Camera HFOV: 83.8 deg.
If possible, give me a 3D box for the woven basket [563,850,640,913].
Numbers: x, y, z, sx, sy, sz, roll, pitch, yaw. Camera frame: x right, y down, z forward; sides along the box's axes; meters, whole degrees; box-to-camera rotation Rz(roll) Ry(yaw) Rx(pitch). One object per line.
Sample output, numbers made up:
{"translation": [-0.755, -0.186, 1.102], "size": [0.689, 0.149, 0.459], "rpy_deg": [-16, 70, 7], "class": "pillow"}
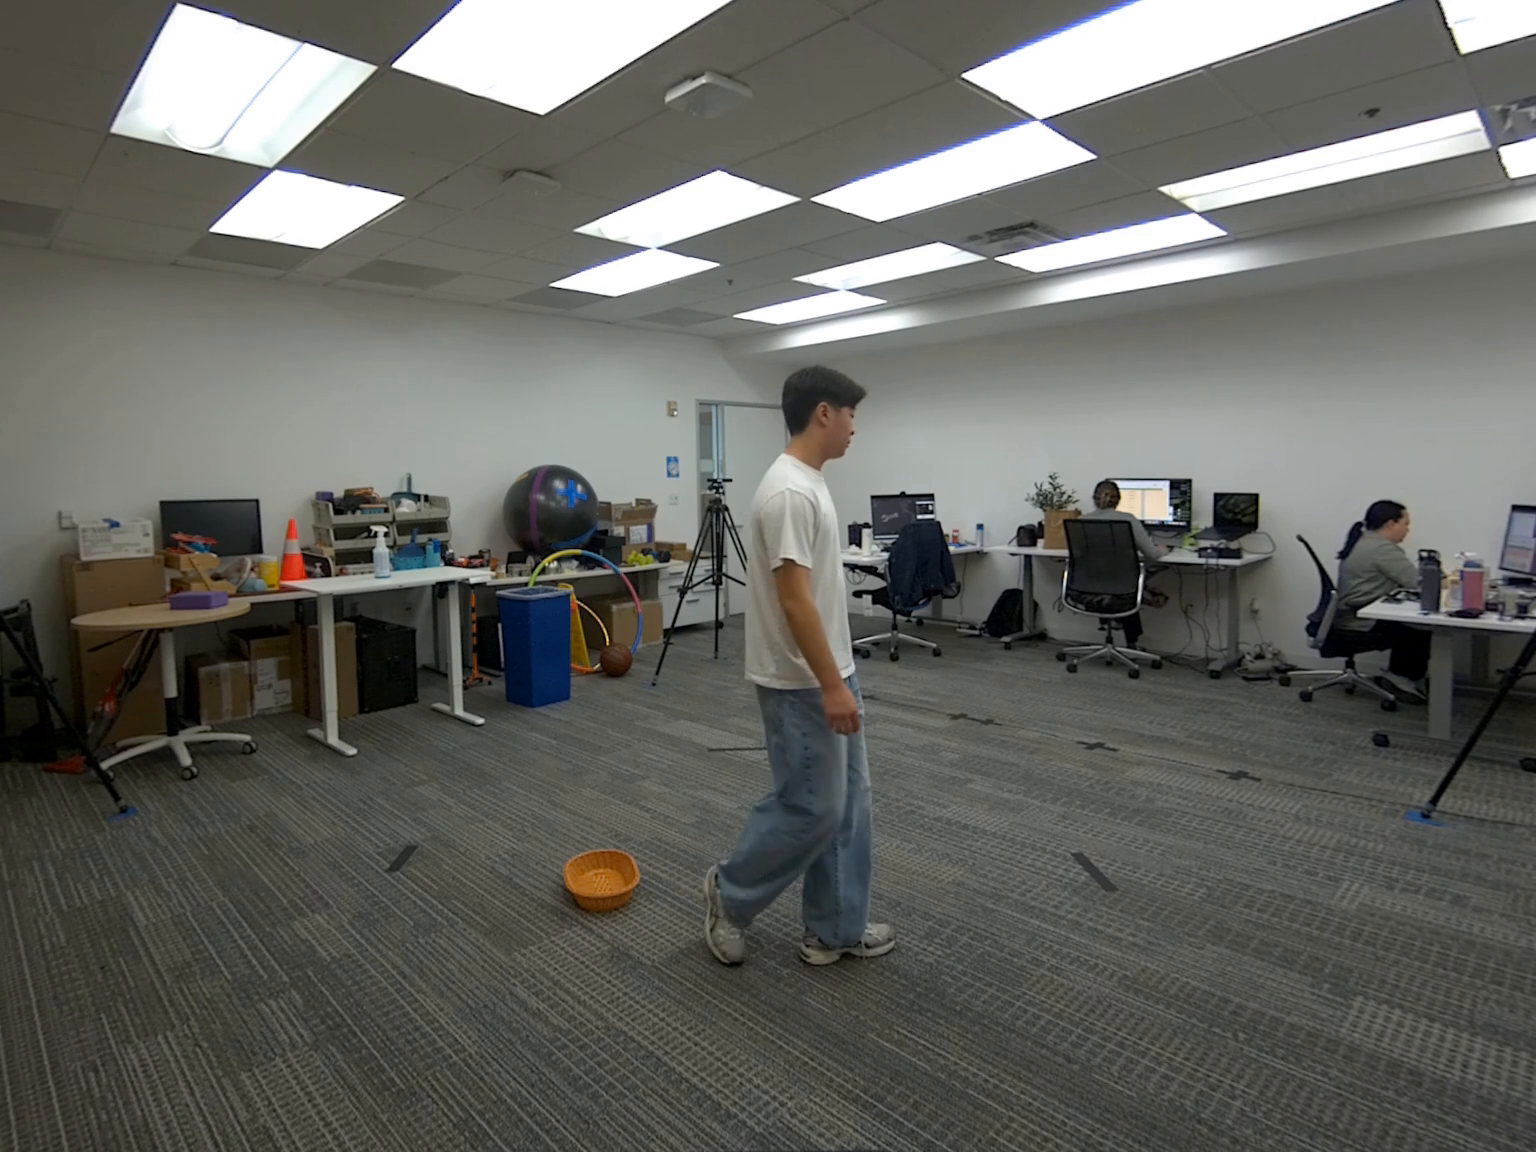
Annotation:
{"translation": [-0.567, 1.038, 2.913], "size": [0.249, 0.073, 0.357], "rpy_deg": [-3, 7, -15], "class": "woven basket"}
